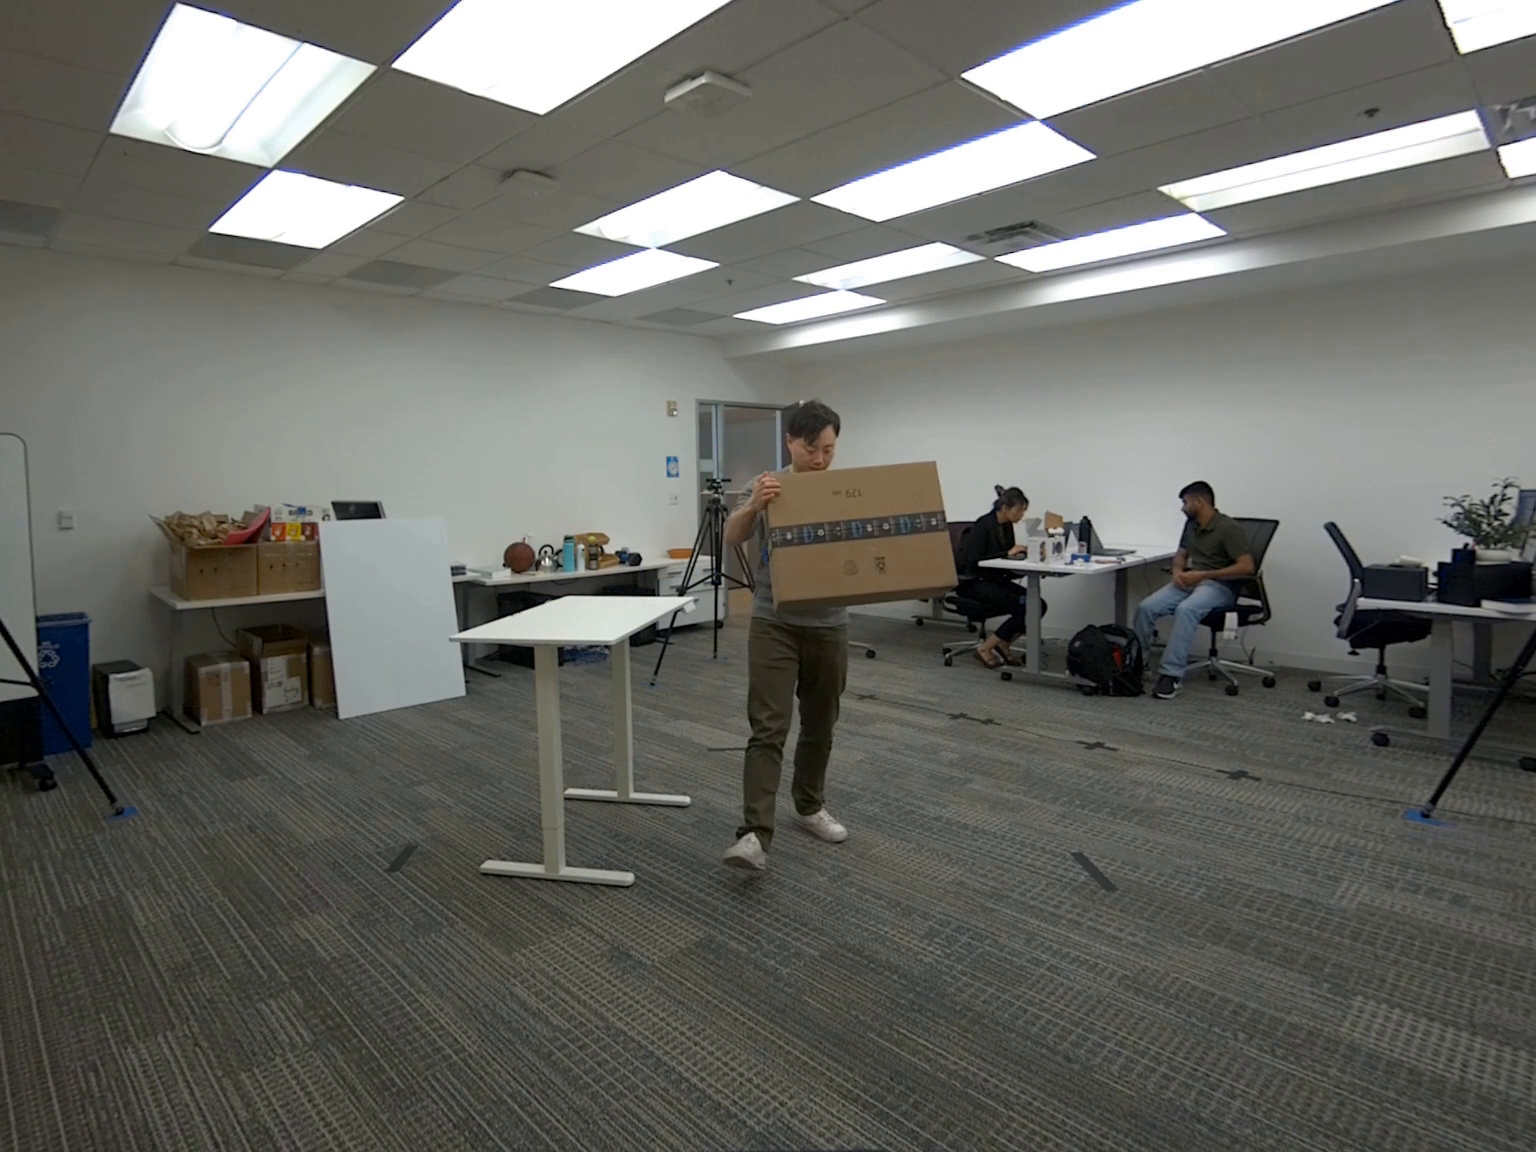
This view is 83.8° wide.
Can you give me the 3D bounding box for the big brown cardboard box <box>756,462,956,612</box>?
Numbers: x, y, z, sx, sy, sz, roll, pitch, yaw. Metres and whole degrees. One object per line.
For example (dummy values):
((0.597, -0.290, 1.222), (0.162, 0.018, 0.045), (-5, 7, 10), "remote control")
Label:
((0.271, -0.121, 2.807), (0.589, 0.423, 0.230), (-5, -13, 0), "big brown cardboard box")
